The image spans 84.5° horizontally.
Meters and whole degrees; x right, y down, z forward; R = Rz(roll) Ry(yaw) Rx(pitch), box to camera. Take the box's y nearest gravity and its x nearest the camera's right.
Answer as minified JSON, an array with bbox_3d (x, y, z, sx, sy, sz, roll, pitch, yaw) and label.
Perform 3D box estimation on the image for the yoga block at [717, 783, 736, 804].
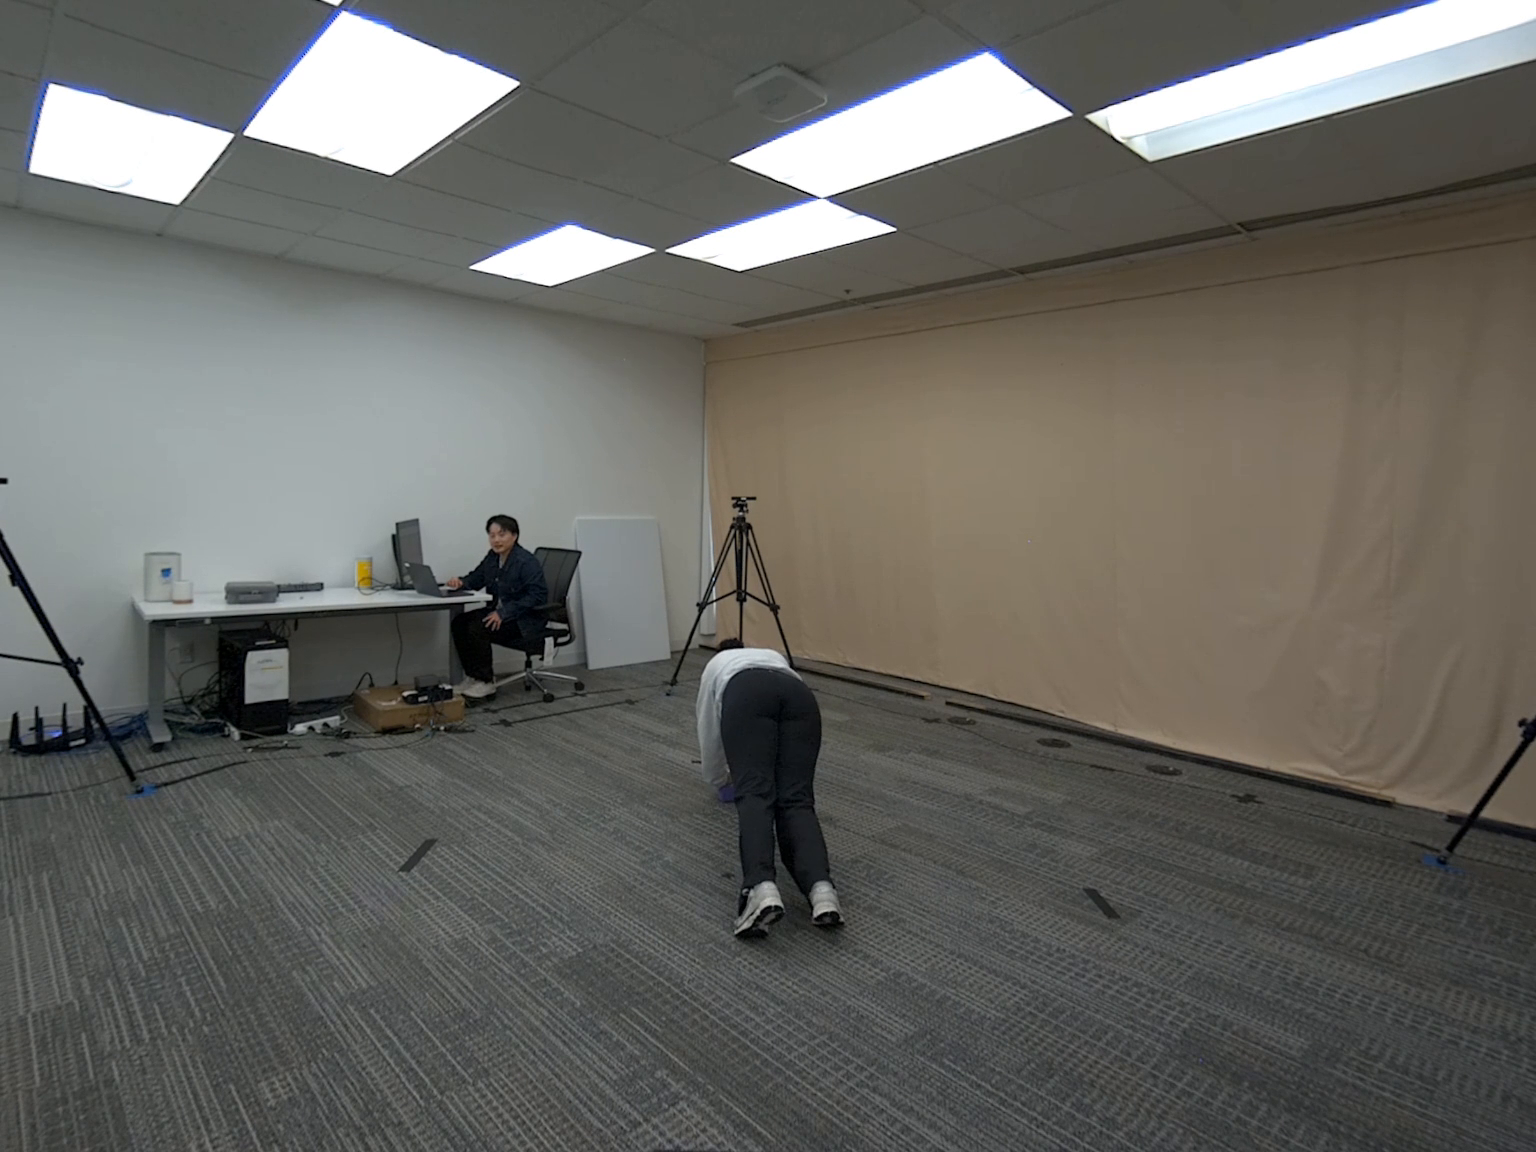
[{"bbox_3d":[-0.132,1.006,3.945,0.227,0.076,0.150,-1,3,-12],"label":"yoga block"}]
